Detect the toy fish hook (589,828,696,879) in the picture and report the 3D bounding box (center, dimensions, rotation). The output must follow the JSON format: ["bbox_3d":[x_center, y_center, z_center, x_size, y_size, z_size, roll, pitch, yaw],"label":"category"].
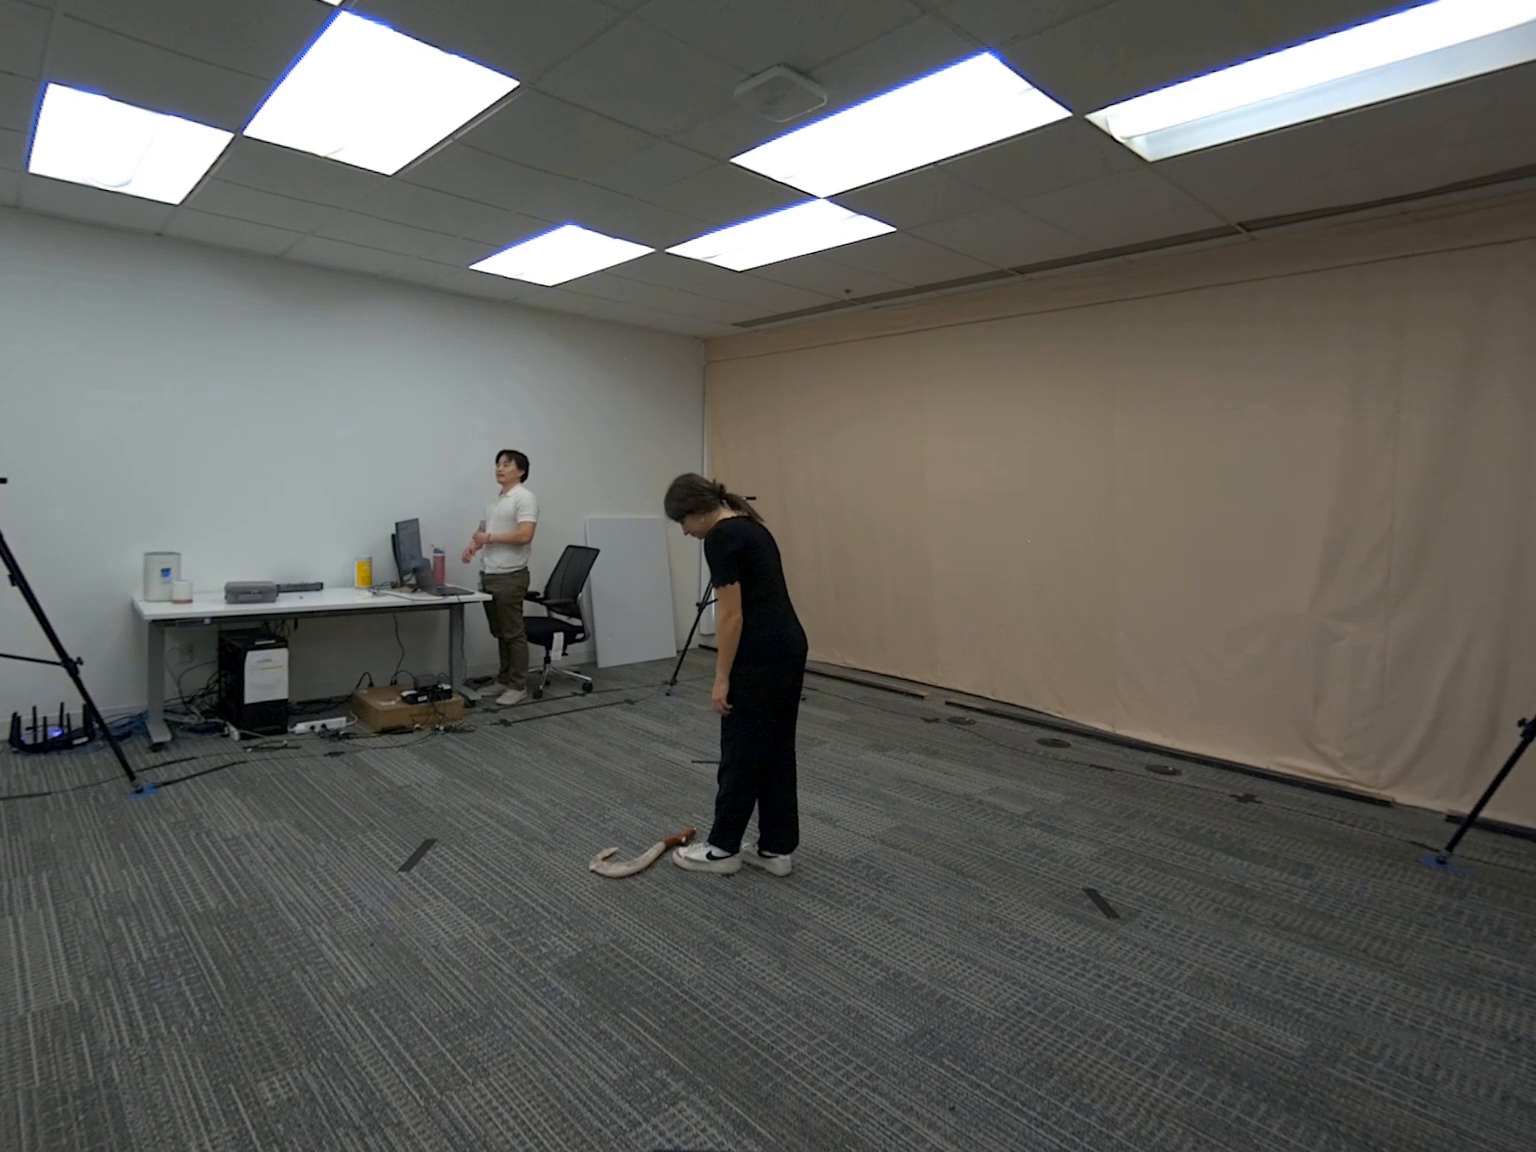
[{"bbox_3d":[-0.490,1.058,3.282,0.230,0.048,0.496,6,7,33],"label":"toy fish hook"}]
